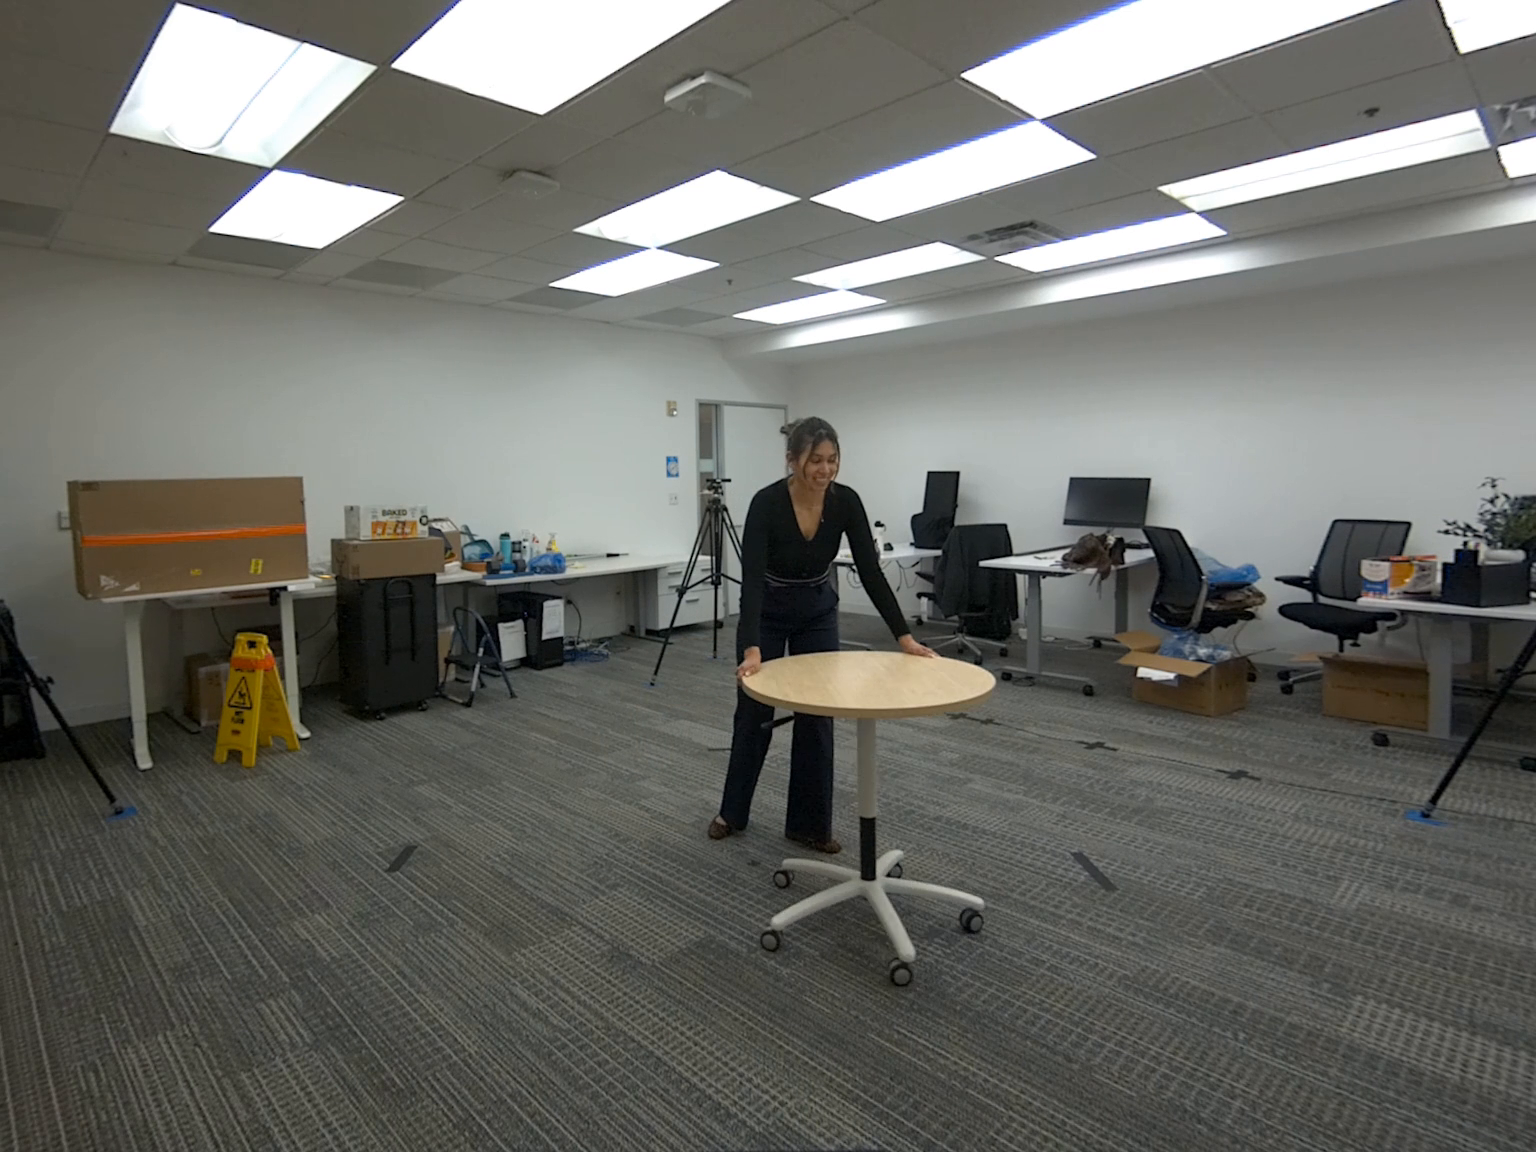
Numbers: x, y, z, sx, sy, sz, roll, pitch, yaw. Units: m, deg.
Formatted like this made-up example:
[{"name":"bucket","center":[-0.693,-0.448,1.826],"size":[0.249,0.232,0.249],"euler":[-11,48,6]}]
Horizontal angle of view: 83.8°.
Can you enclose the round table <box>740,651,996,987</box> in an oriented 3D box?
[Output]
[{"name":"round table","center":[0.305,0.700,2.674],"size":[0.763,0.791,0.768],"euler":[-1,5,-2]}]
